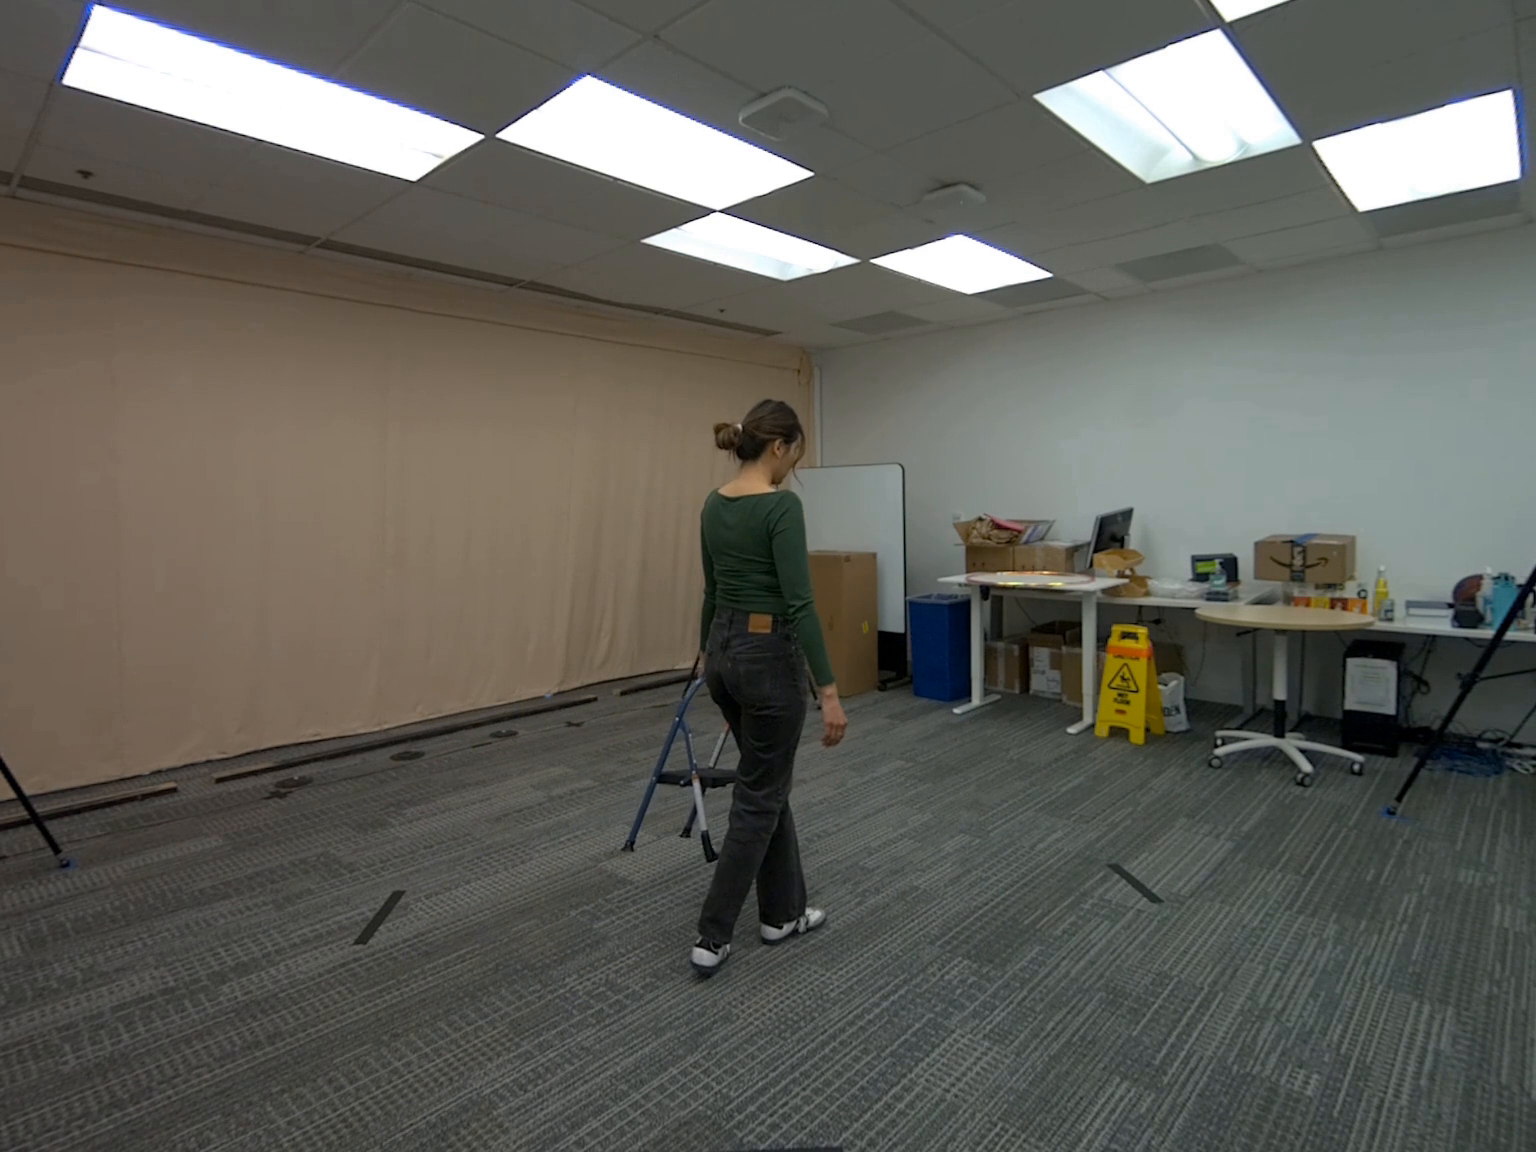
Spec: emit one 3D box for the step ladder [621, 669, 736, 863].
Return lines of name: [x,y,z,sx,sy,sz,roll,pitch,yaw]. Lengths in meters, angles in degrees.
step ladder: [-0.240,0.653,2.978,0.358,0.610,0.417,-3,-11,25]
